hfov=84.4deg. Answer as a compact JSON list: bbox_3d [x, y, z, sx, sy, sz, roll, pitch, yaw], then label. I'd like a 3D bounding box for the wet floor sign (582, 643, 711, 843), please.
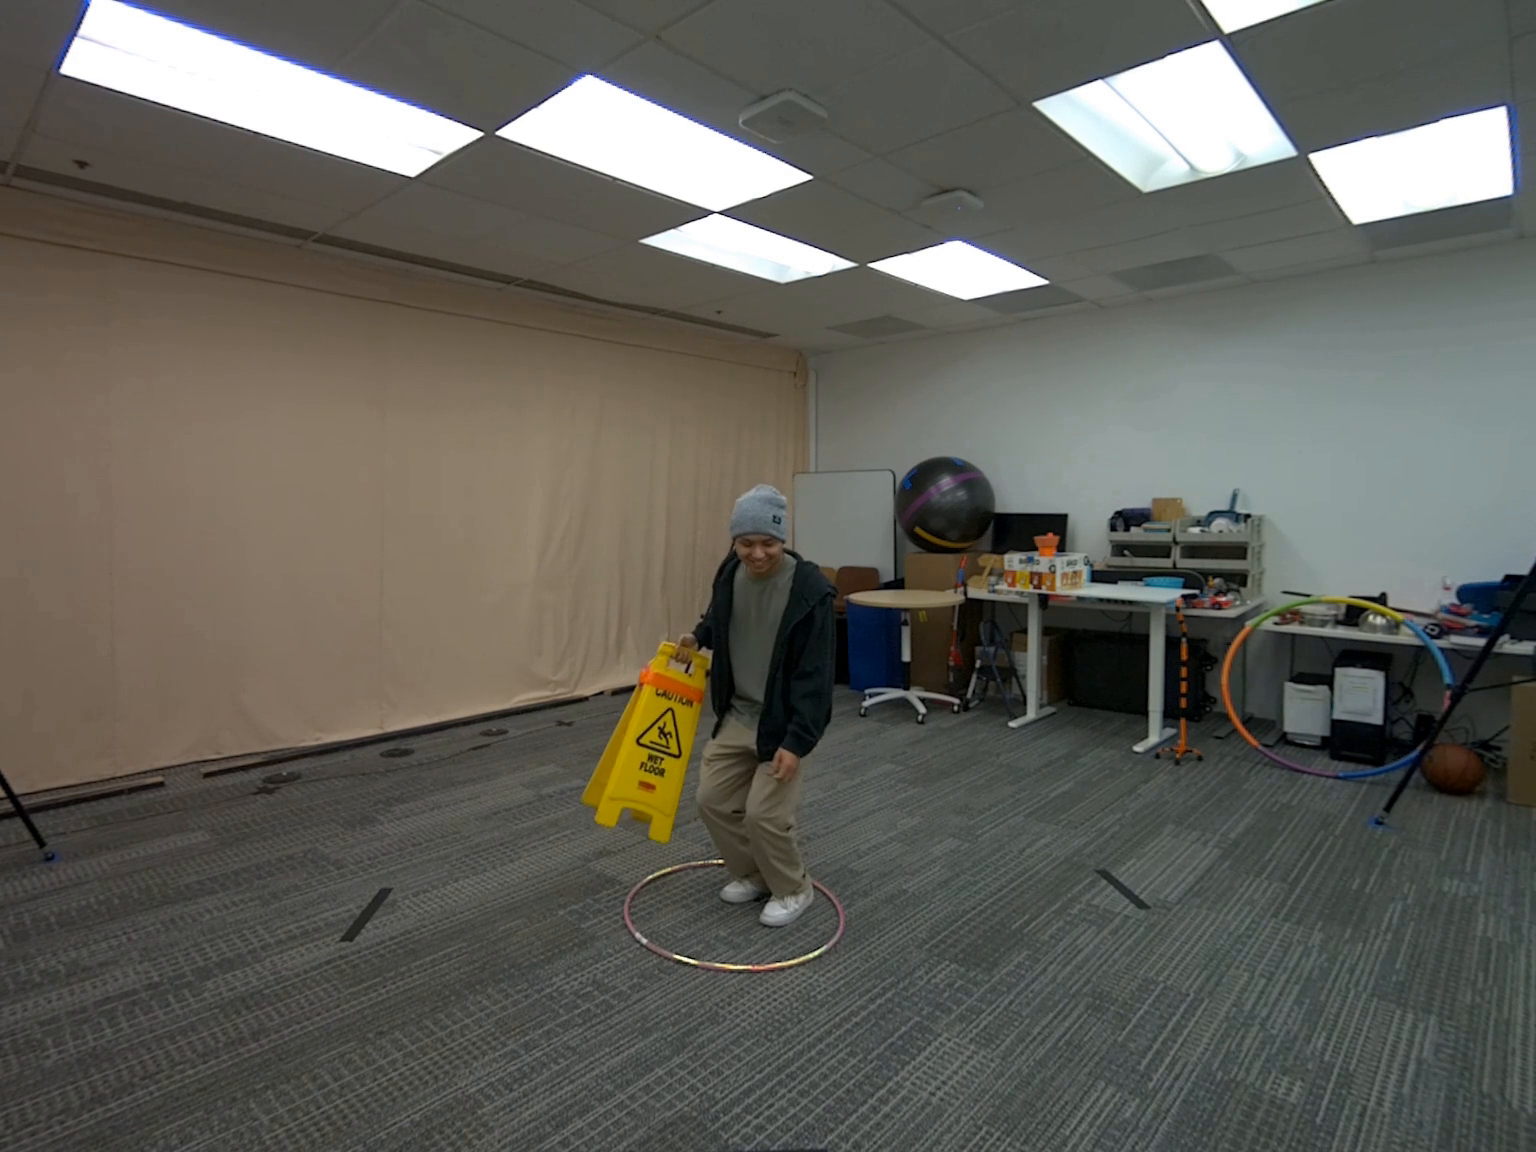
[{"bbox_3d":[-0.391,0.547,3.040,0.276,0.647,0.296,20,-7,-20],"label":"wet floor sign"}]
